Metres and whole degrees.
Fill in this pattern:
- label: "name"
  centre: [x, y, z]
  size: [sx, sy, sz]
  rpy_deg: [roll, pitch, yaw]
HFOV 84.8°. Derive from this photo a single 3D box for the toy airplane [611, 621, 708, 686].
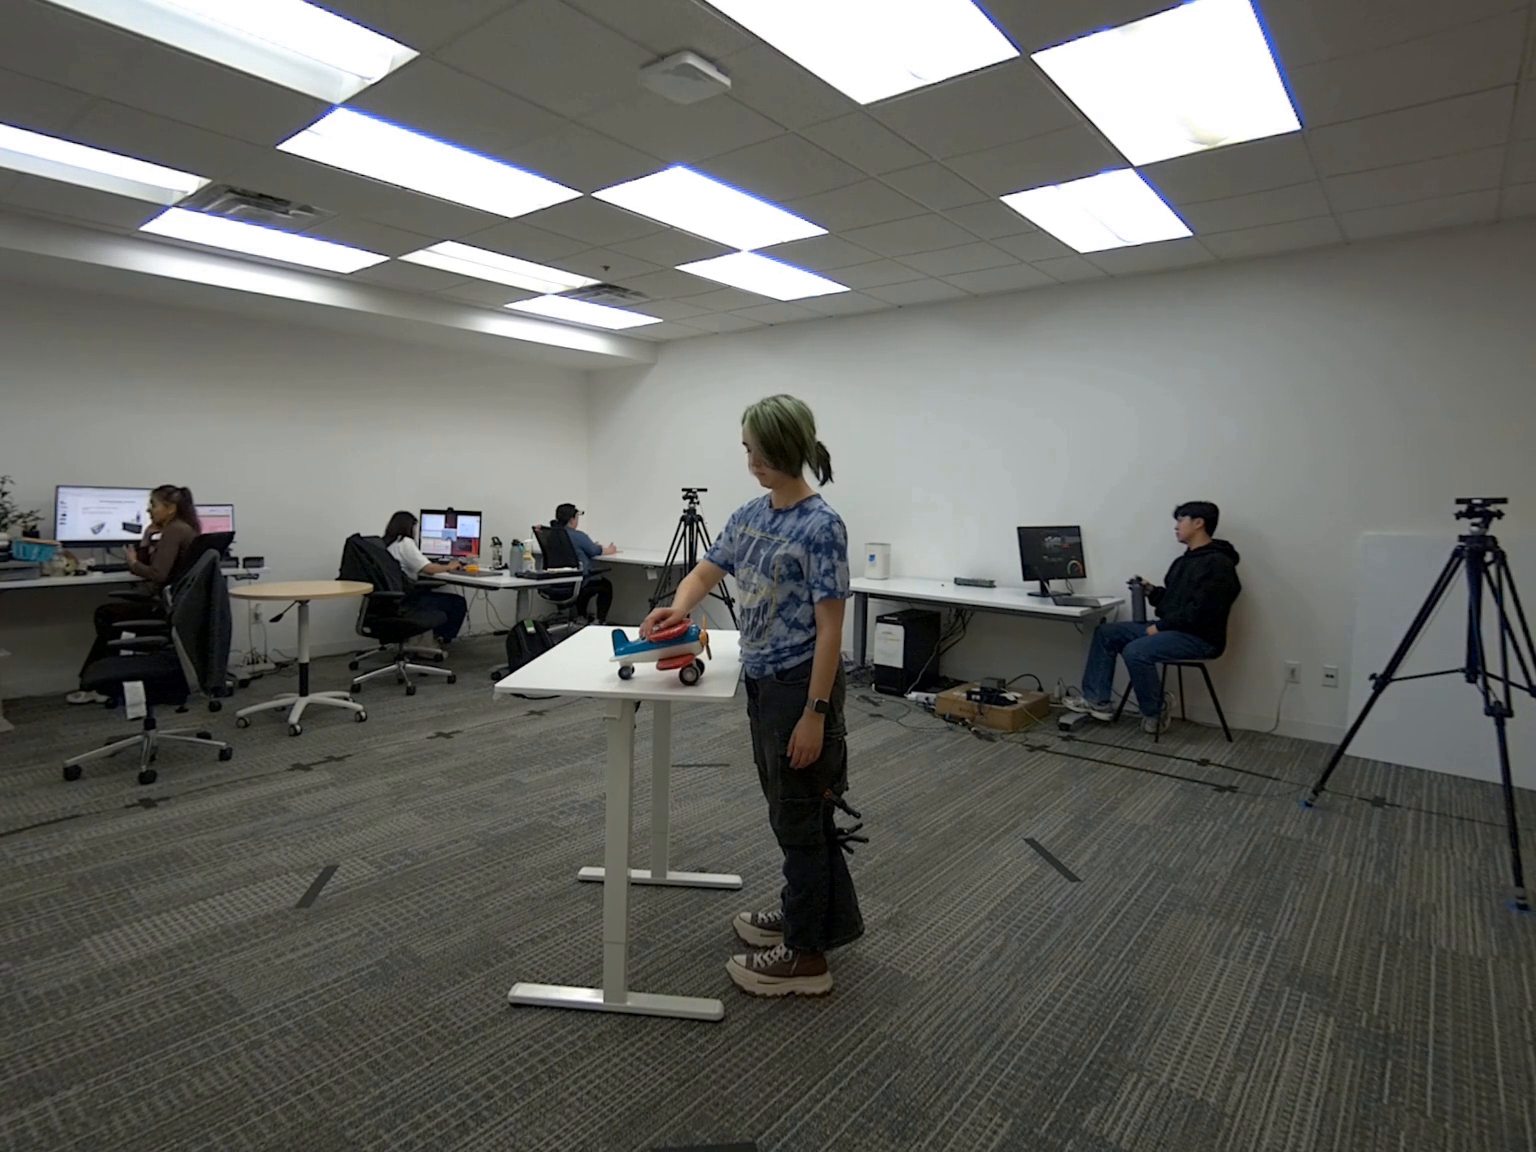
- label: "toy airplane"
  centre: [-0.278, 0.197, 2.219]
  size: [0.253, 0.156, 0.258]
  rpy_deg: [0, 3, -26]
